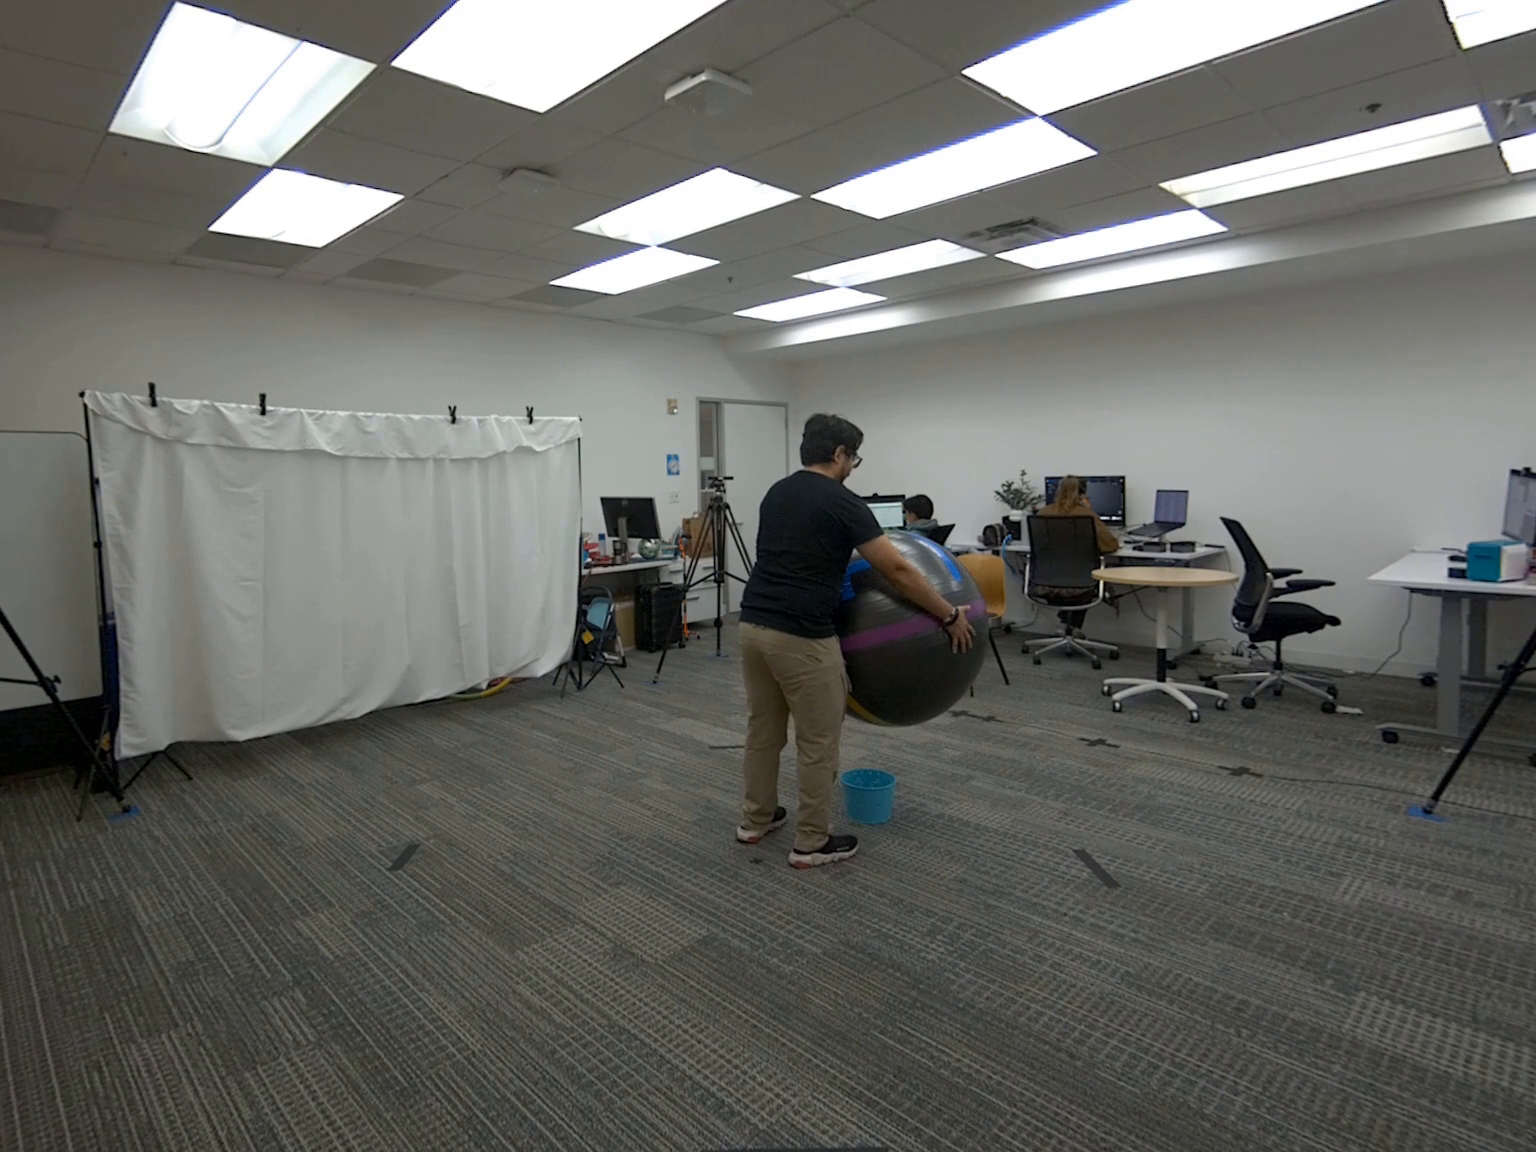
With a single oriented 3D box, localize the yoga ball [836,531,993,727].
[{"bbox_3d":[0.473,0.215,3.365,0.757,0.755,0.762,-1,5,-2],"label":"yoga ball"}]
